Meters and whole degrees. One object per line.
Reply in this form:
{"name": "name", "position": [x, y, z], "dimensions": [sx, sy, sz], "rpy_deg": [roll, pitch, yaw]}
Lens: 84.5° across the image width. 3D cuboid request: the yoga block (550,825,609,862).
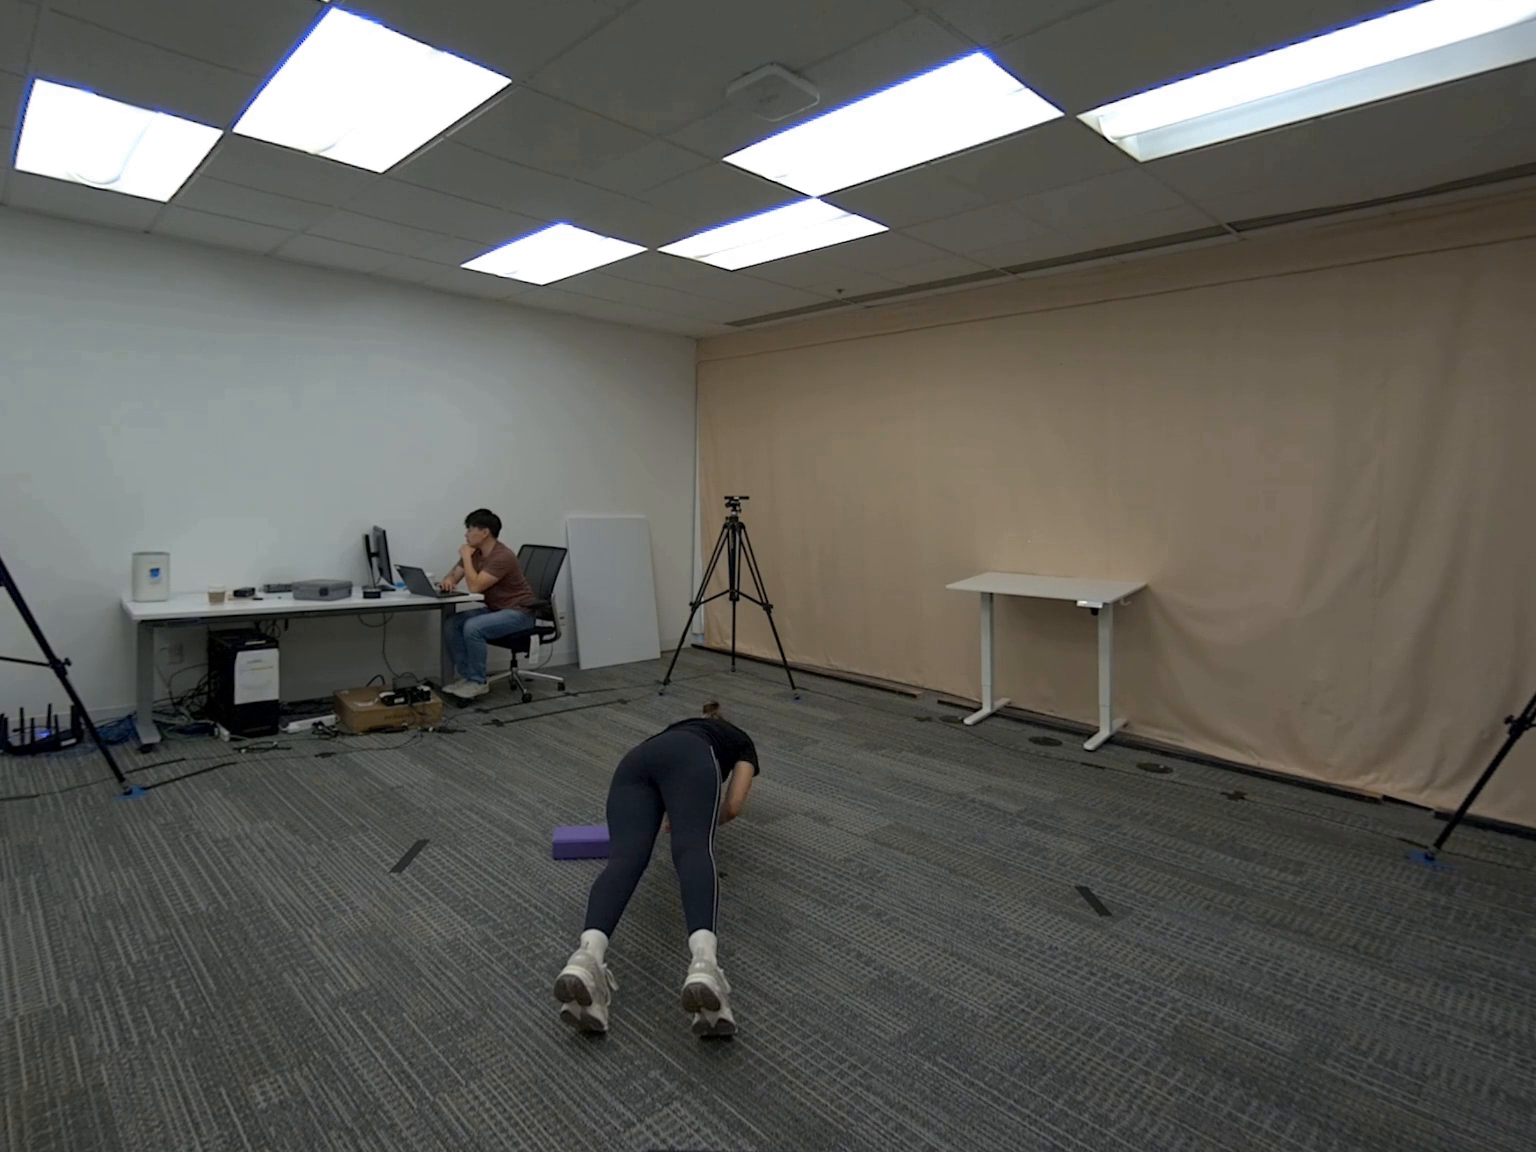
{"name": "yoga block", "position": [-0.724, 1.032, 3.276], "dimensions": [0.228, 0.076, 0.150], "rpy_deg": [1, 5, -9]}
